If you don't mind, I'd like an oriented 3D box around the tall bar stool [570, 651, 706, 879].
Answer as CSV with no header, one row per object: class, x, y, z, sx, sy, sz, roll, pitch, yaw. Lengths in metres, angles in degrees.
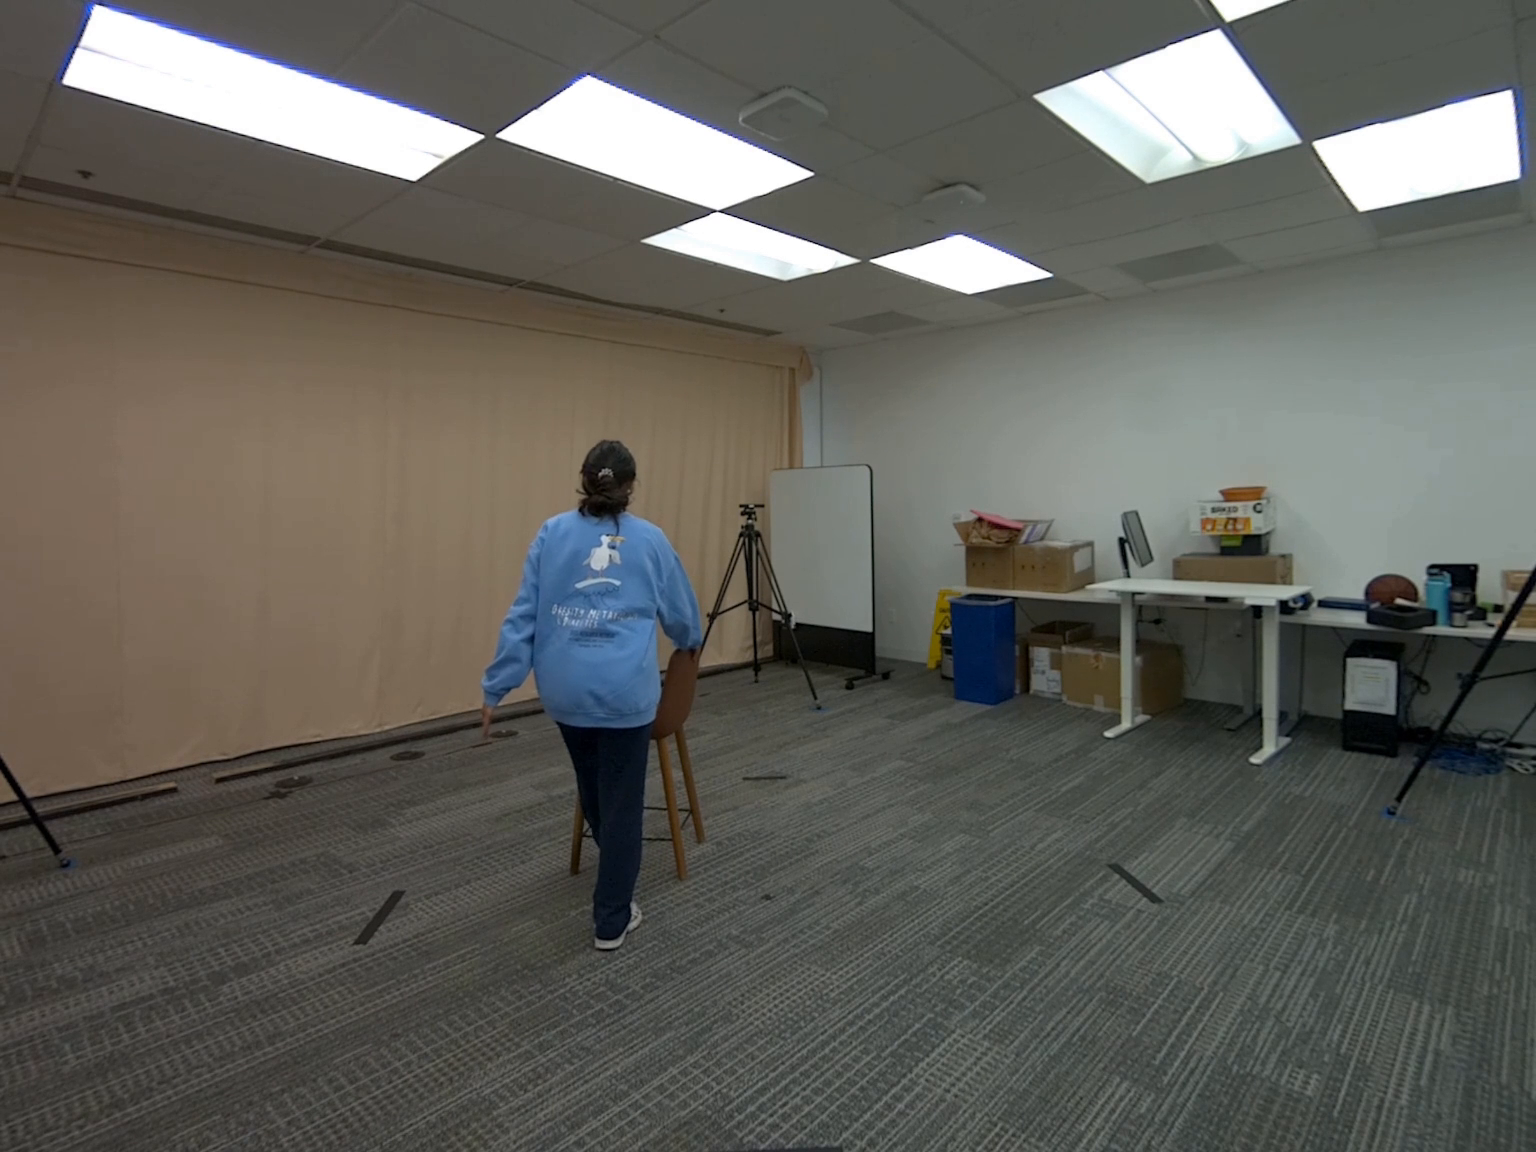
tall bar stool,-0.509,0.687,3.339,0.473,0.888,0.452,1,4,9
